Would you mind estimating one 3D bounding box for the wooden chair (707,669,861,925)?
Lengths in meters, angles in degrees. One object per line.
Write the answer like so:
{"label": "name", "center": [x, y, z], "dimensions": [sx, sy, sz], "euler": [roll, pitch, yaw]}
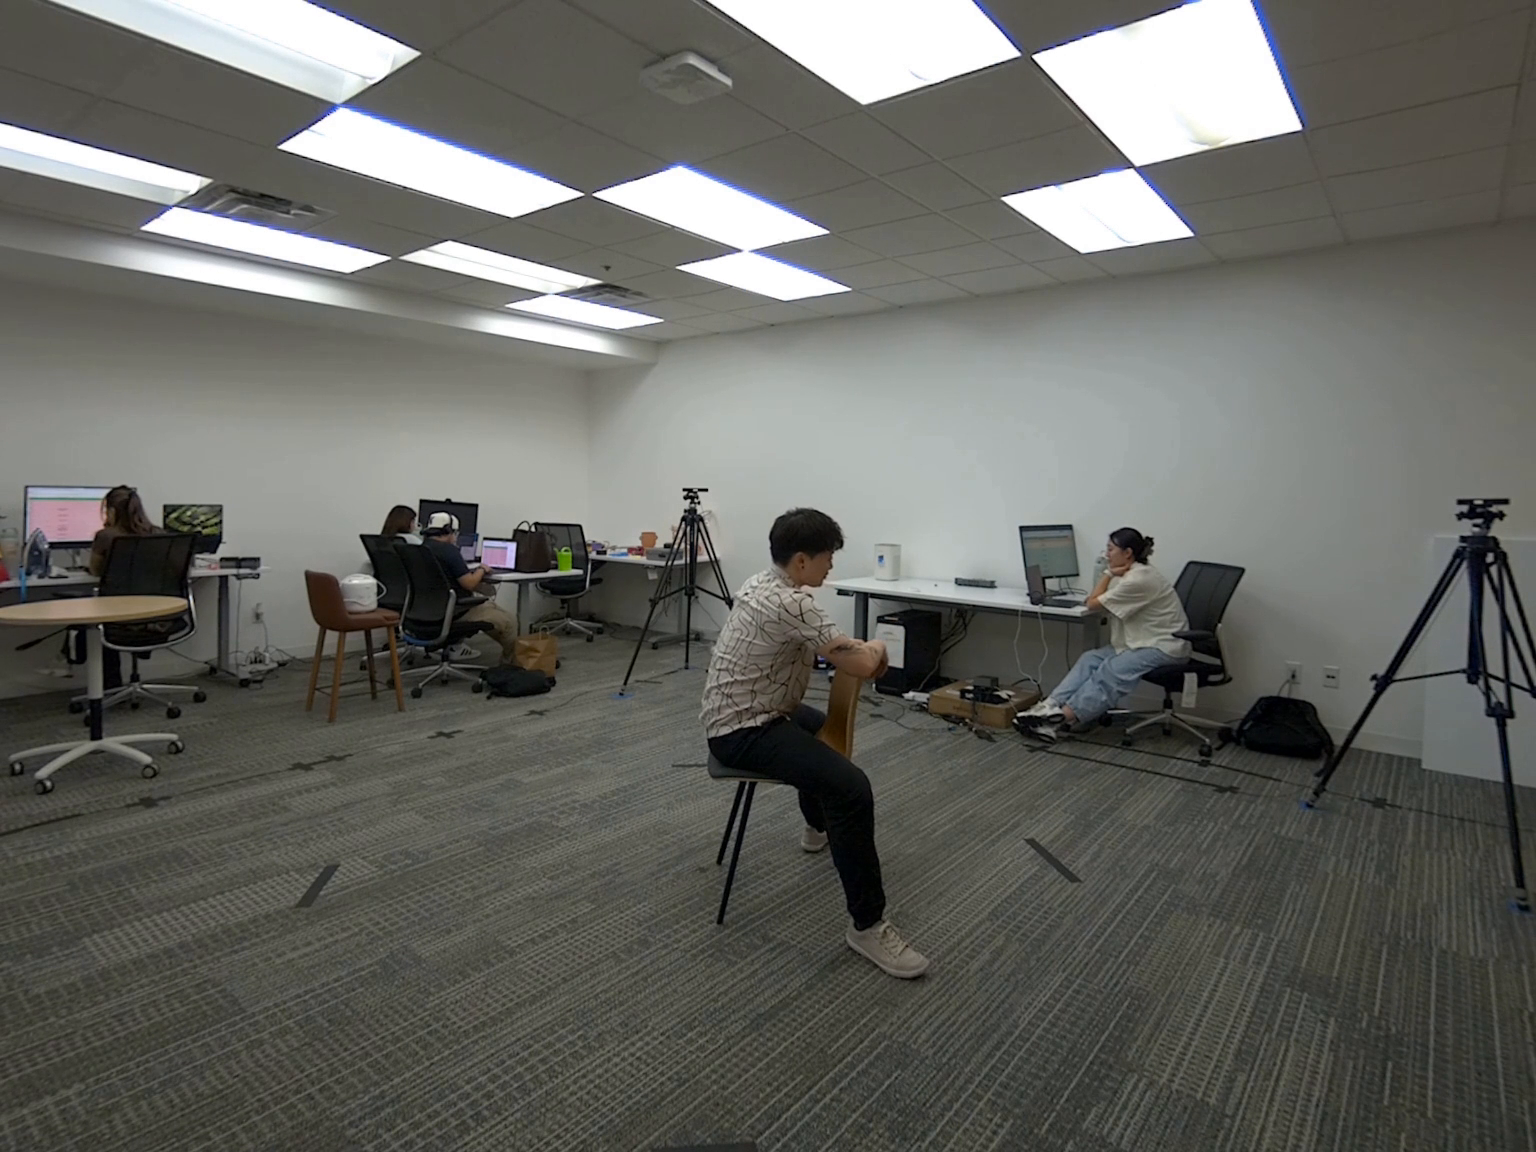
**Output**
{"label": "wooden chair", "center": [0.044, 0.675, 2.913], "dimensions": [0.522, 0.875, 0.480], "euler": [6, 3, -2]}
